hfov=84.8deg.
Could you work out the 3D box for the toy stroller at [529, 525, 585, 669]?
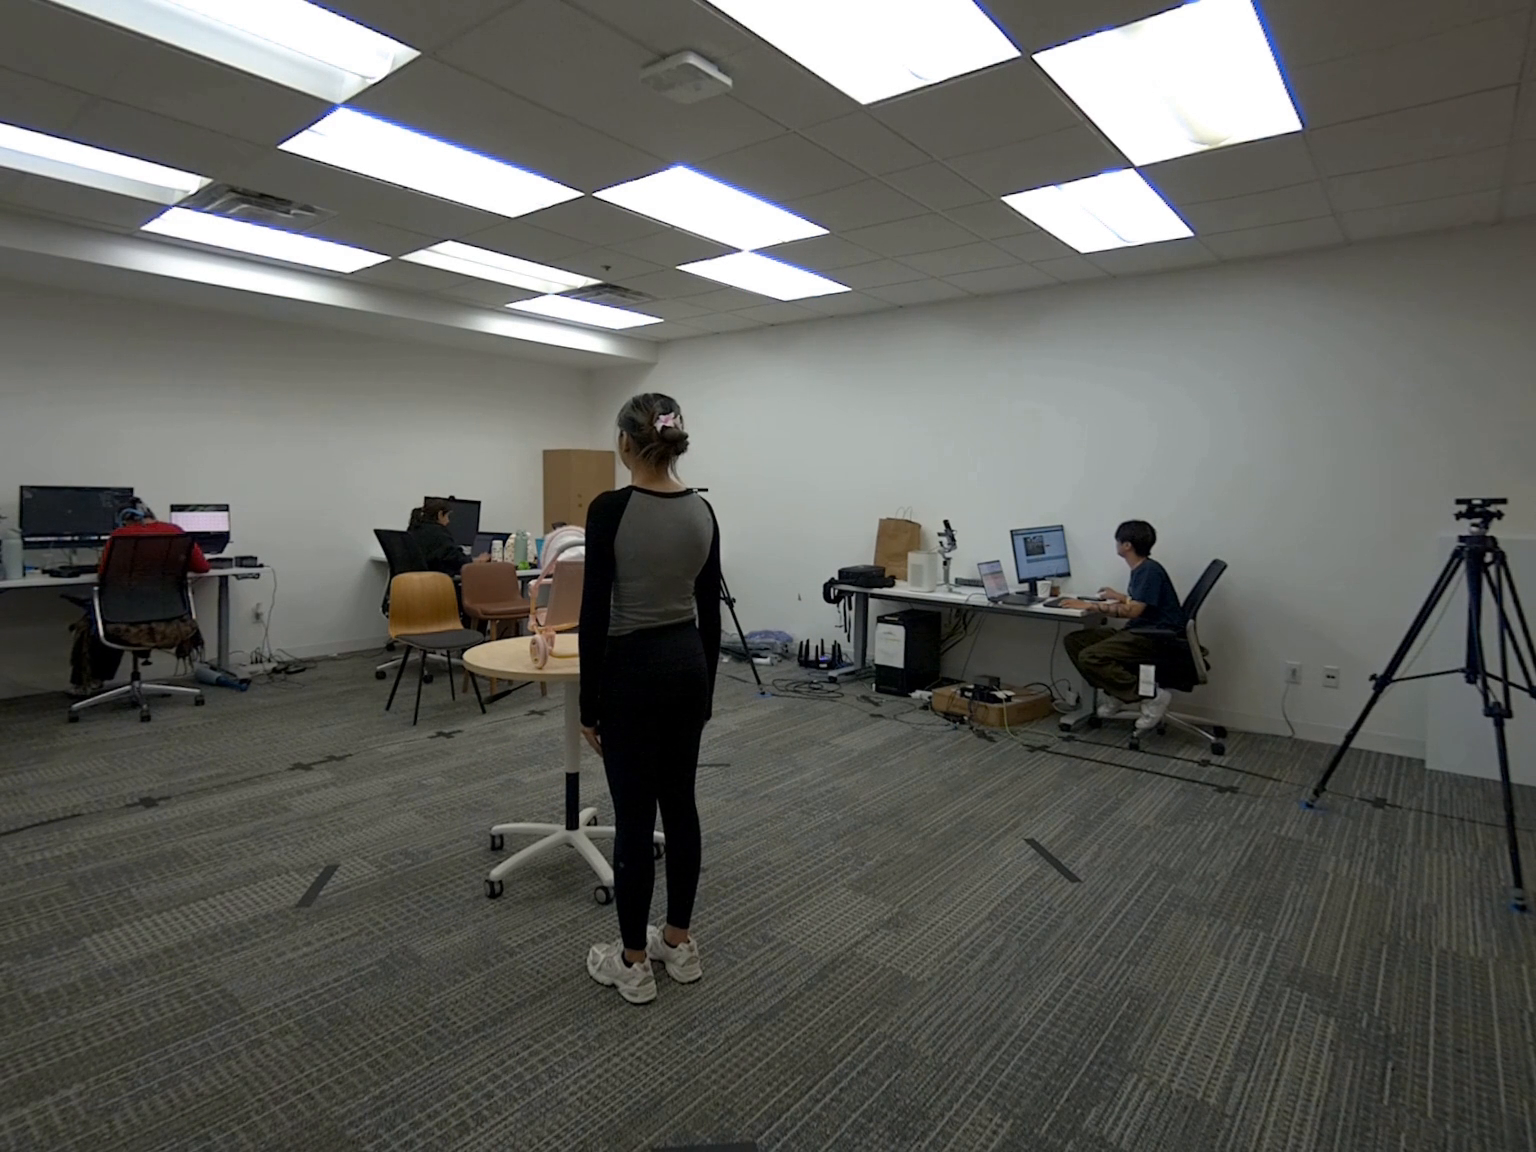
[{"bbox_3d":[-0.688,0.066,2.886,0.274,0.528,0.355,0,20,-30],"label":"toy stroller"}]
